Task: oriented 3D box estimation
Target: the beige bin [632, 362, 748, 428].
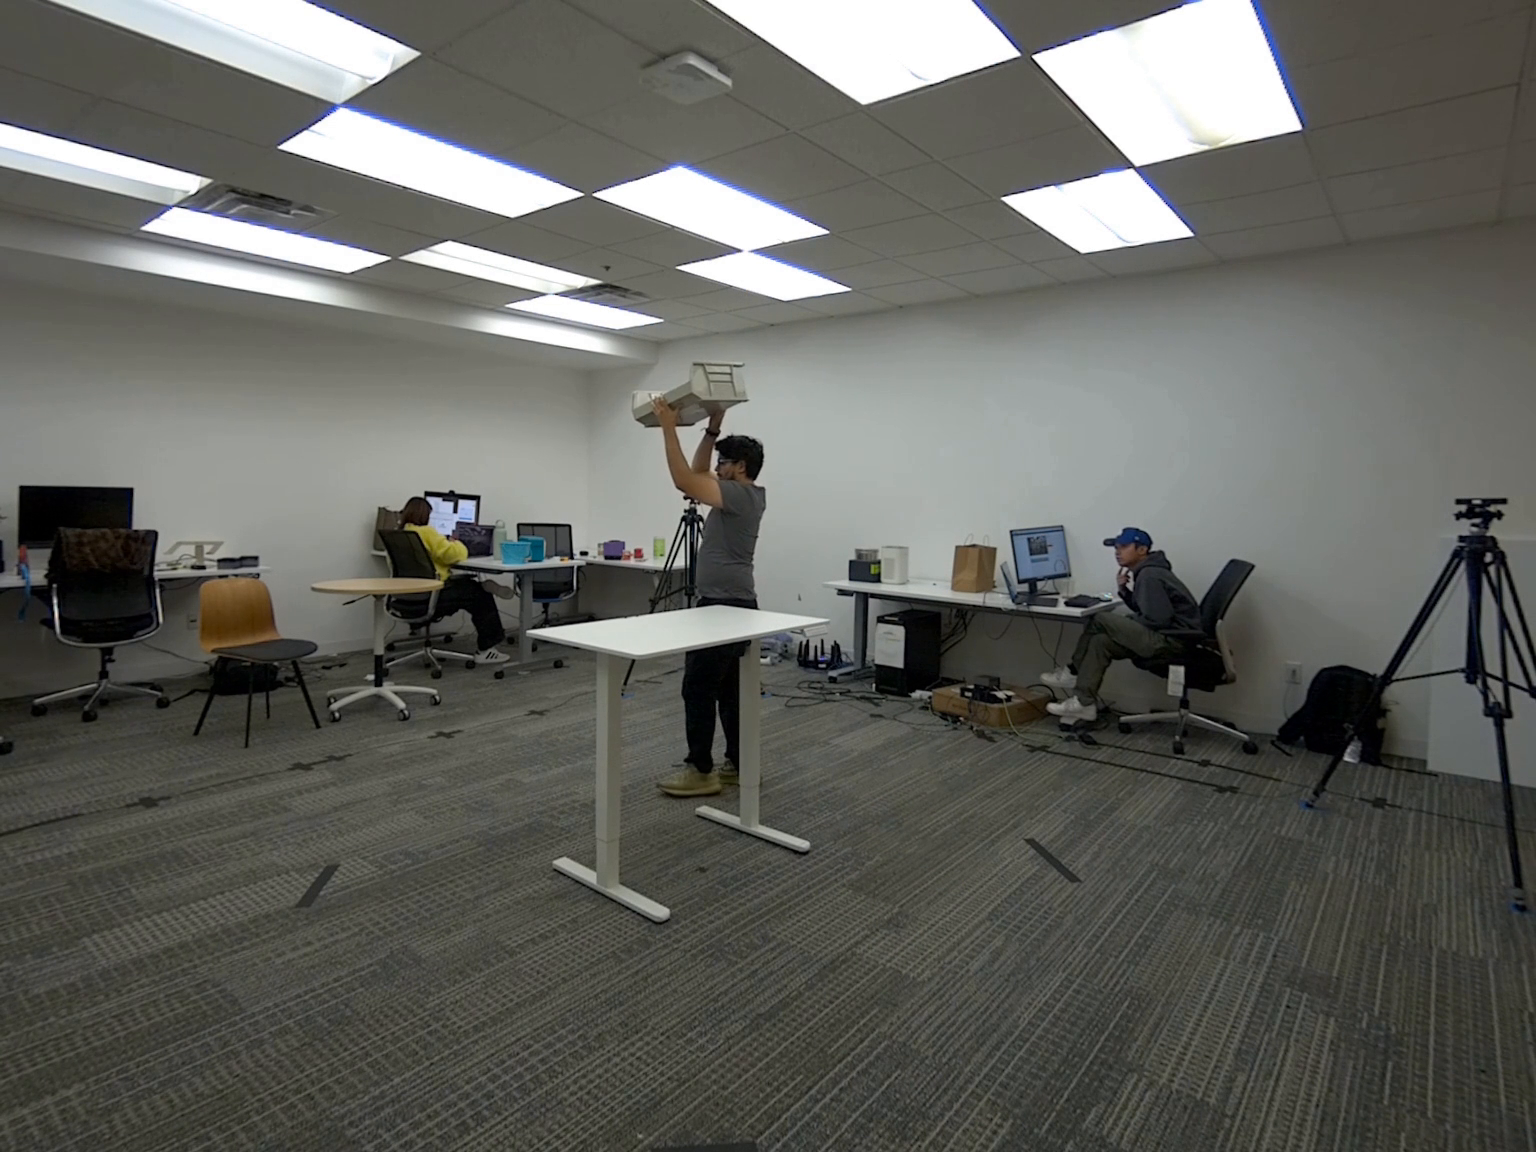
[{"bbox_3d":[-0.379,-0.848,3.954,0.432,0.190,0.367,-15,-3,44],"label":"beige bin"}]
